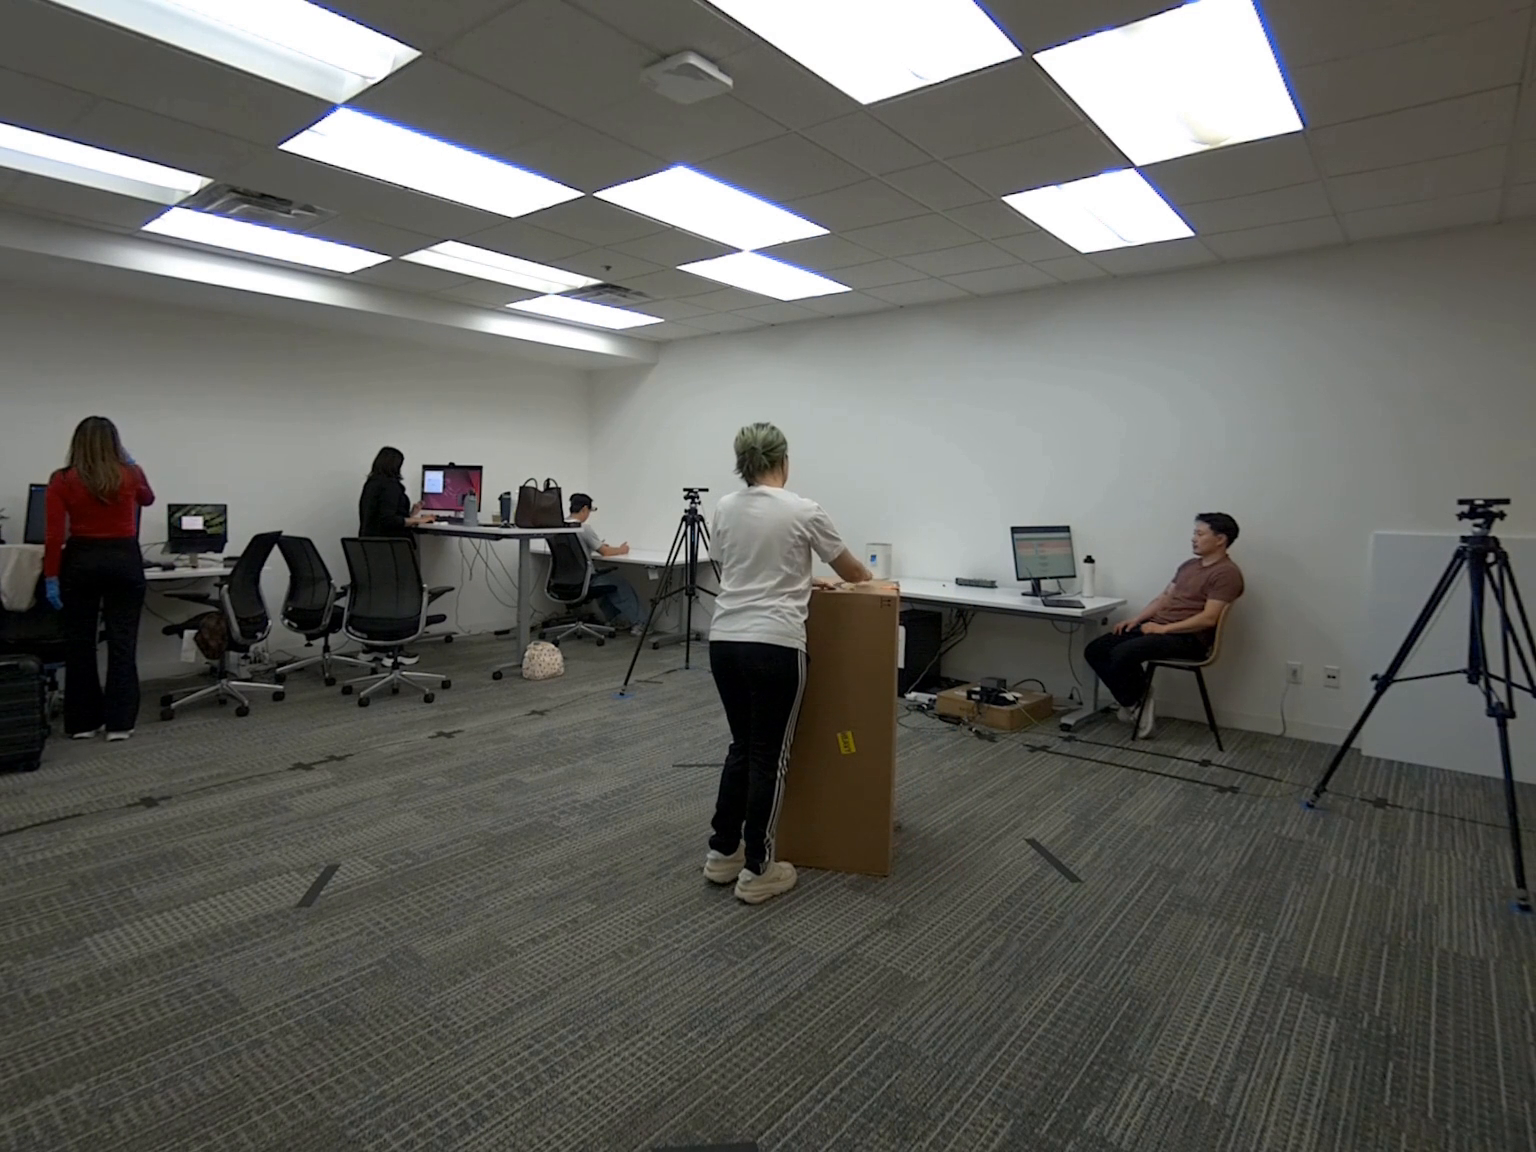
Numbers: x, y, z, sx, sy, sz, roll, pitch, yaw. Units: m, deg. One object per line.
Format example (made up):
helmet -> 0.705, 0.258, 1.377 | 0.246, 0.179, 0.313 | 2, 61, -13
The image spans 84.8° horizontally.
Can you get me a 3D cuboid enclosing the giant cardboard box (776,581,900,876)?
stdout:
giant cardboard box -> 0.283, 0.543, 3.378 | 0.452, 1.024, 0.579 | 1, 3, 10
